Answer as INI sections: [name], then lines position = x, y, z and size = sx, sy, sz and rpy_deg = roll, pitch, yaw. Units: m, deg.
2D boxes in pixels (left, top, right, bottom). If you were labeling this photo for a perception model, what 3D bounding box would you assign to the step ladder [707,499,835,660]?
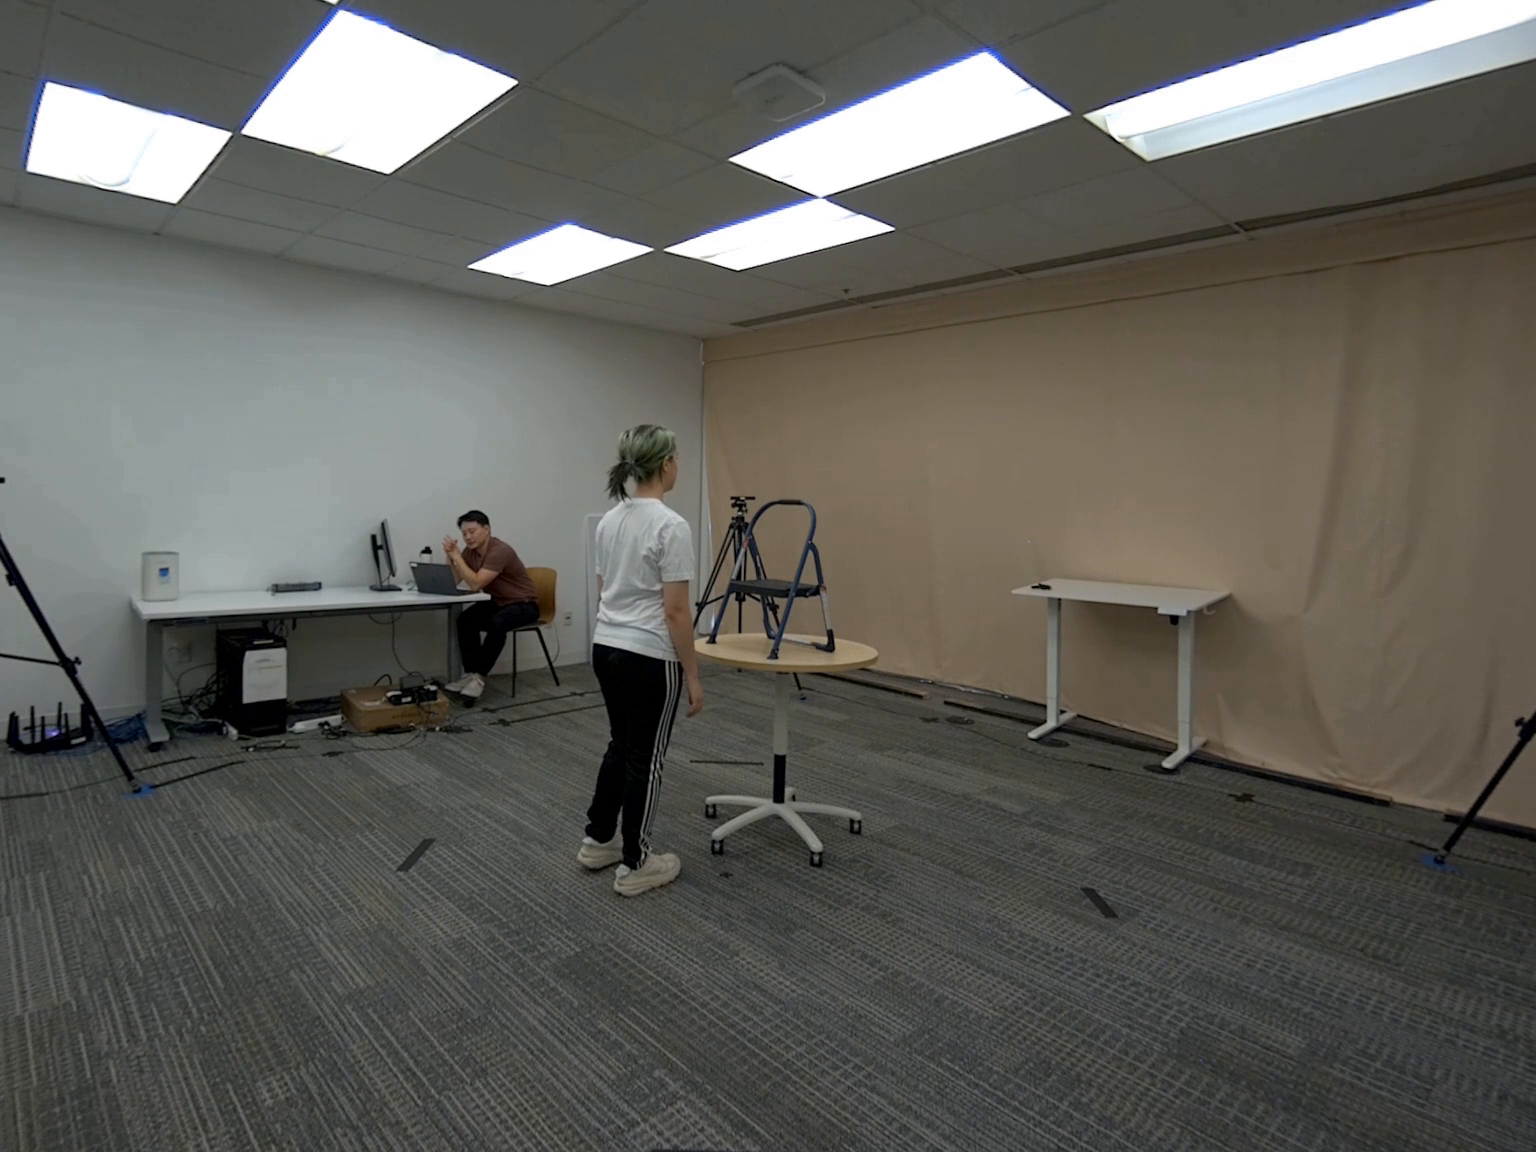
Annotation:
[step ladder]
position = 0.013, -0.006, 3.428
size = 0.341, 0.604, 0.441
rpy_deg = -1, 4, -39
